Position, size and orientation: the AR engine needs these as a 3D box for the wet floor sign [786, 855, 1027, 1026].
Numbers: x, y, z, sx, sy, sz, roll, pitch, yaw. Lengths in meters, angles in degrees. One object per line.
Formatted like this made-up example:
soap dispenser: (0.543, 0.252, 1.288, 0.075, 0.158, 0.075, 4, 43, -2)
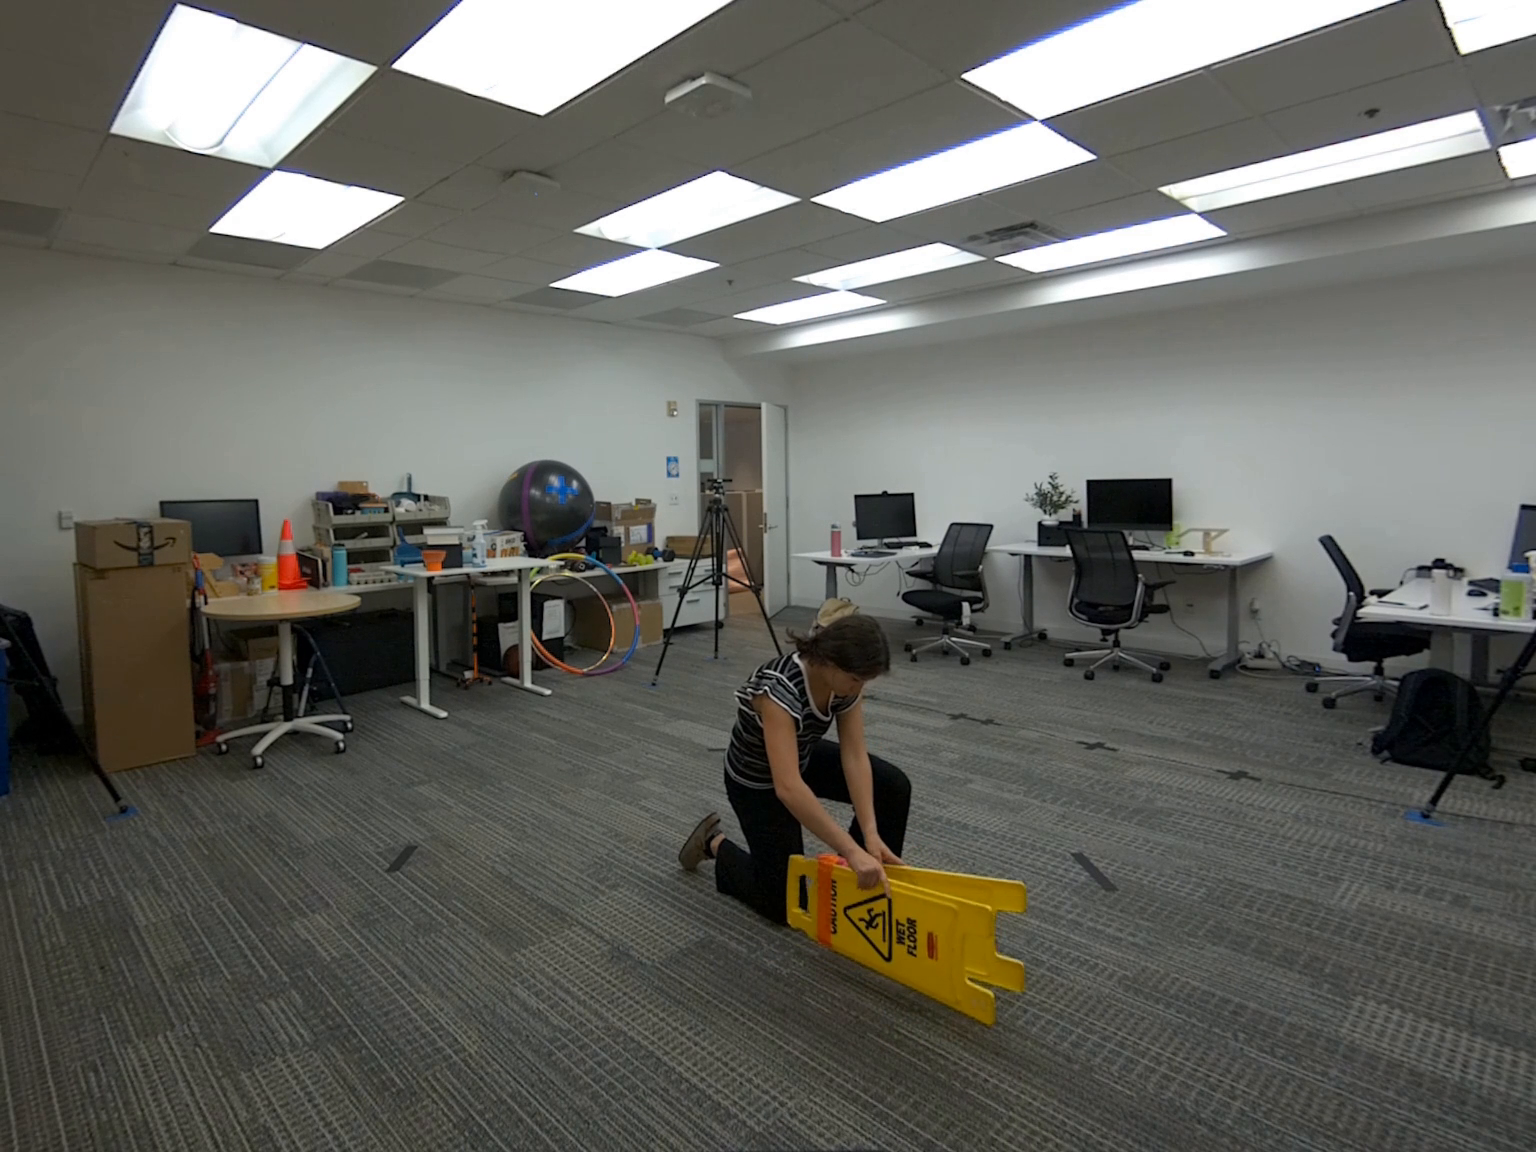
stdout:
wet floor sign: (0.335, 0.932, 2.317, 0.664, 0.283, 0.281, 1, -1, 35)
